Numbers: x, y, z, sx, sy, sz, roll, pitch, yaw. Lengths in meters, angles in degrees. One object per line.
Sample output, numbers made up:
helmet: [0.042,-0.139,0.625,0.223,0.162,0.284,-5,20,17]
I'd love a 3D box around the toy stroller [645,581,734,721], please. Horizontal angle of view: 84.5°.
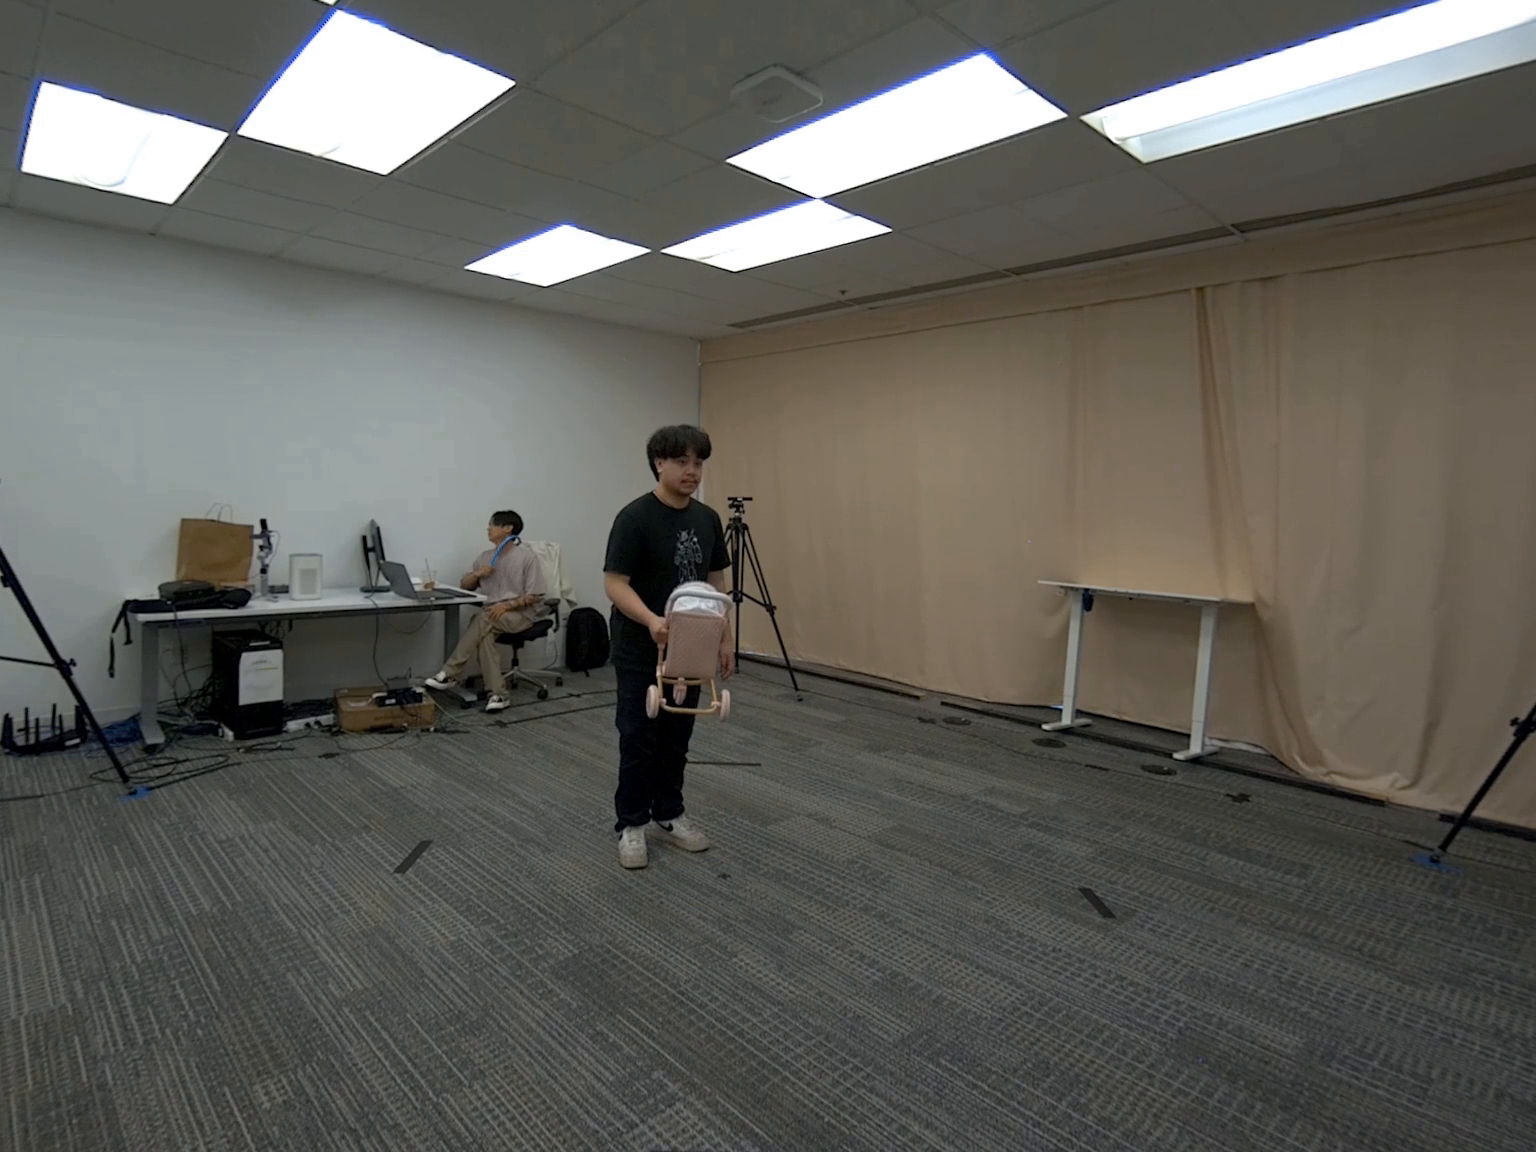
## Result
toy stroller: [-0.278,0.266,2.942,0.279,0.530,0.347,5,15,-9]
